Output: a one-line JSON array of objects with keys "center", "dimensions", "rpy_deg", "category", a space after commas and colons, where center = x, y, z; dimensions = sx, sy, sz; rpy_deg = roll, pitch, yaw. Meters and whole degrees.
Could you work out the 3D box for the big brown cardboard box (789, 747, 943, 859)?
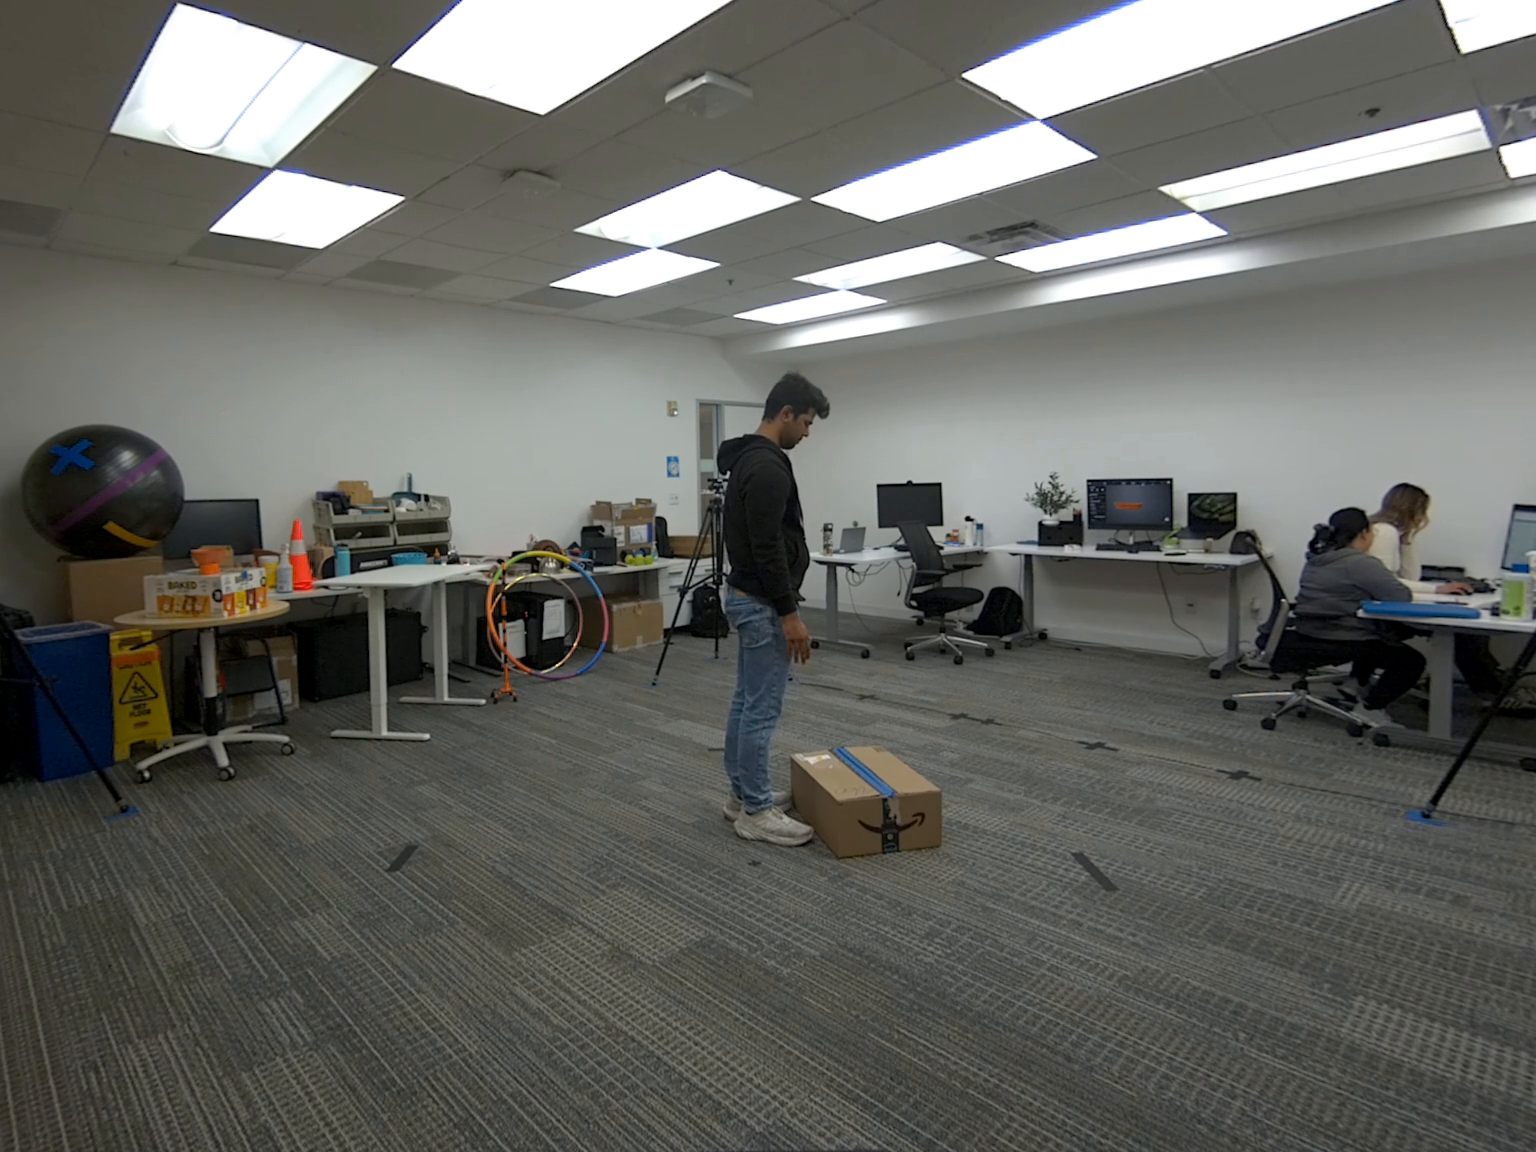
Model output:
[{"center": [0.378, 0.888, 3.441], "dimensions": [0.412, 0.232, 0.600], "rpy_deg": [-3, 7, -16], "category": "big brown cardboard box"}]
